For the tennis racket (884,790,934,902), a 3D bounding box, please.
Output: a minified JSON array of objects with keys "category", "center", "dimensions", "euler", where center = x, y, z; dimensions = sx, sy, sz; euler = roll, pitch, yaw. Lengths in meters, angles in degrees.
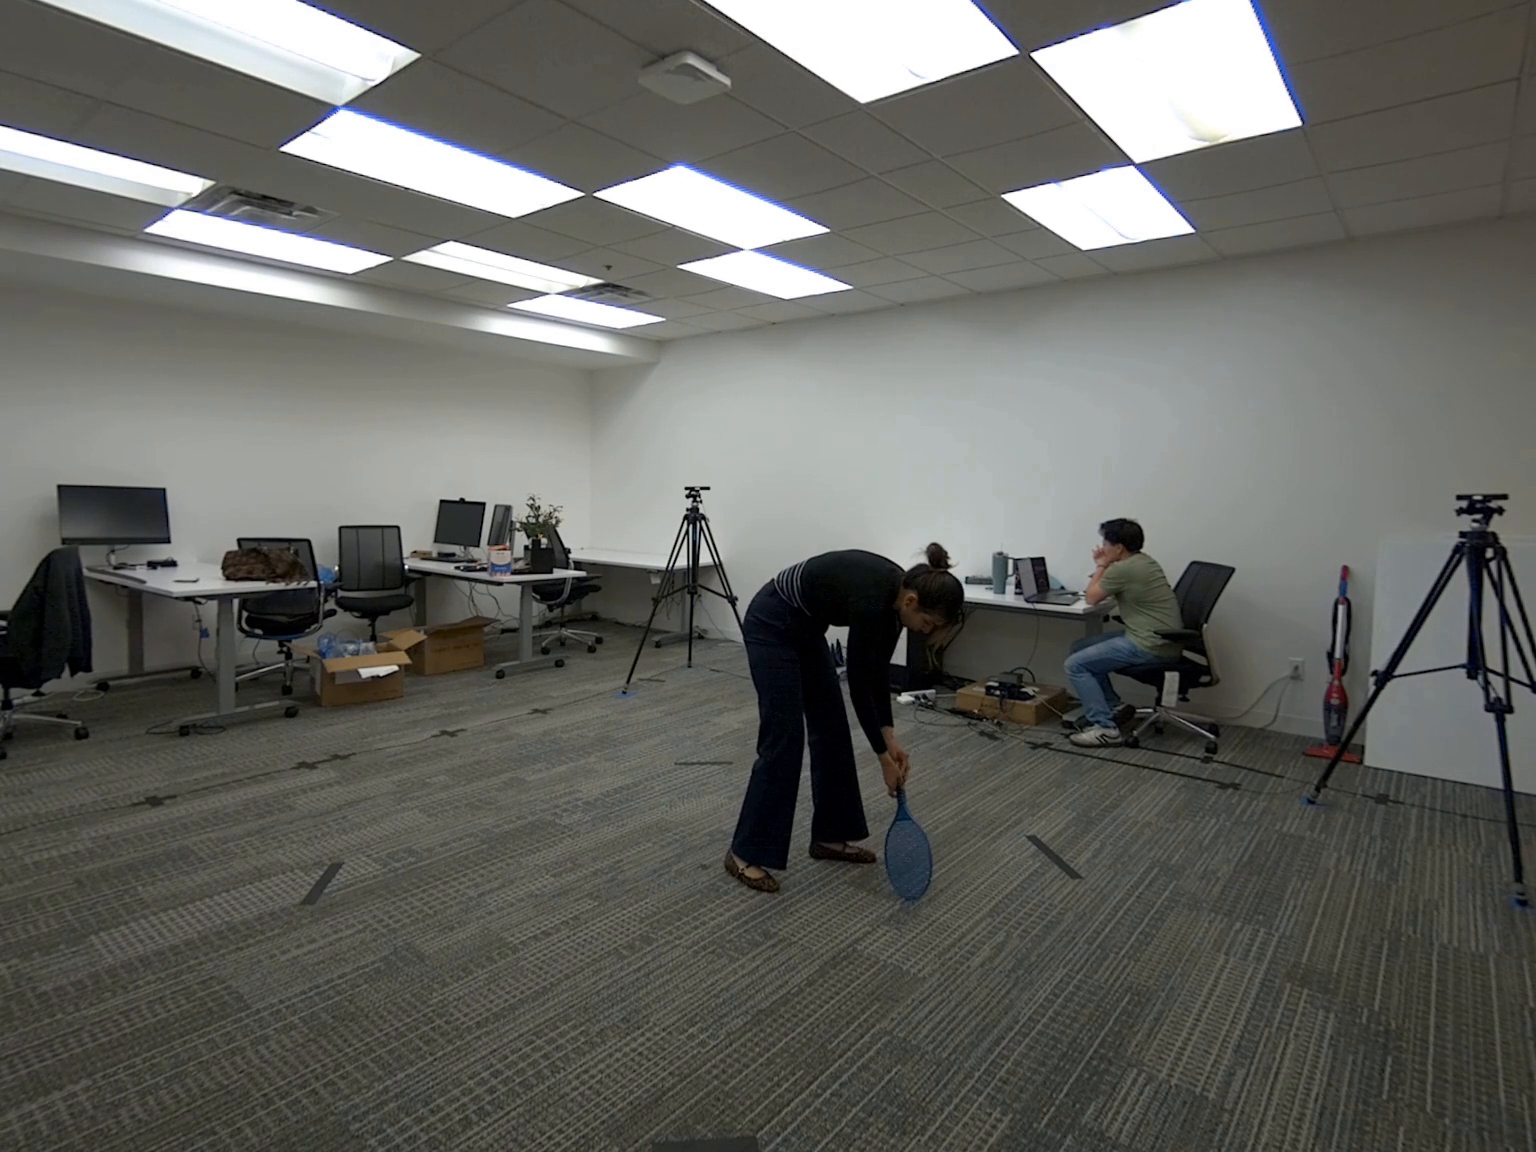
[{"category":"tennis racket","center":[0.481,0.885,2.974],"dimensions":[0.031,0.441,0.216],"euler":[16,-26,-30]}]
